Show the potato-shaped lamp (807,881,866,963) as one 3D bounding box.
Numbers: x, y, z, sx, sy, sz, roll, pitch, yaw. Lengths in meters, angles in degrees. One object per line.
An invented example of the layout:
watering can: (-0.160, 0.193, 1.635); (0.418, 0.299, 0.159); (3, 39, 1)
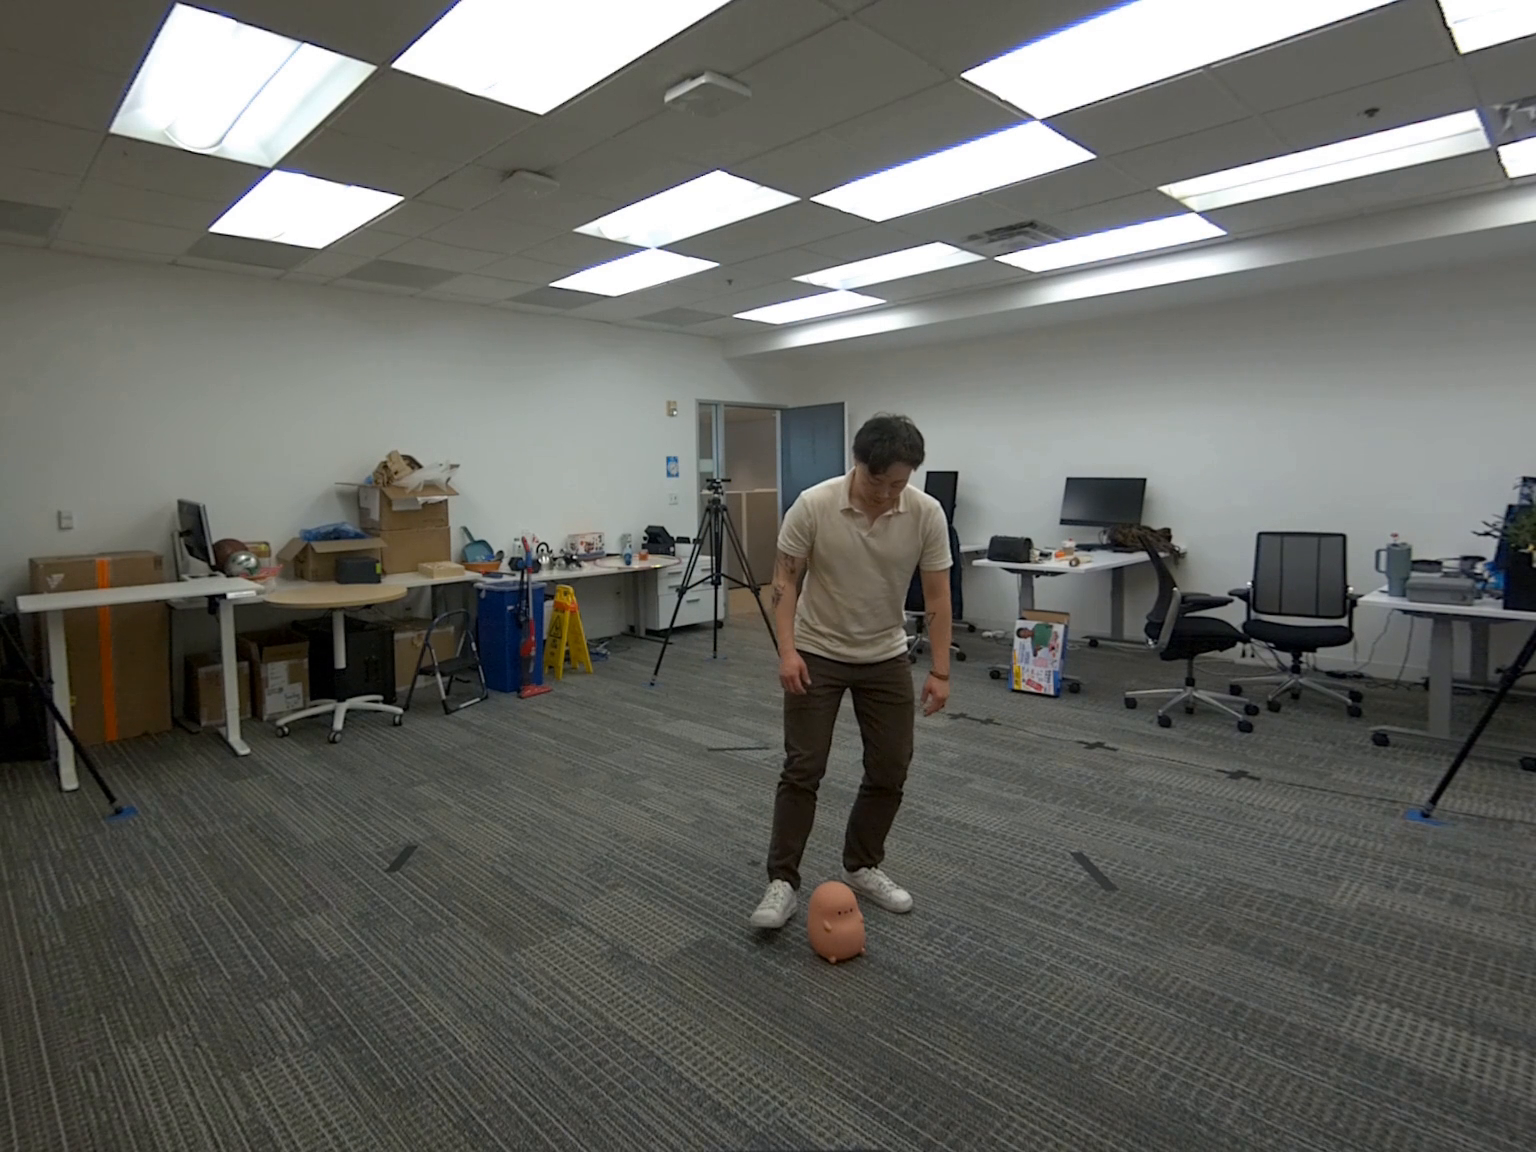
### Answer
potato-shaped lamp: (0.213, 1.011, 2.519); (0.161, 0.198, 0.176); (-2, 2, -29)
